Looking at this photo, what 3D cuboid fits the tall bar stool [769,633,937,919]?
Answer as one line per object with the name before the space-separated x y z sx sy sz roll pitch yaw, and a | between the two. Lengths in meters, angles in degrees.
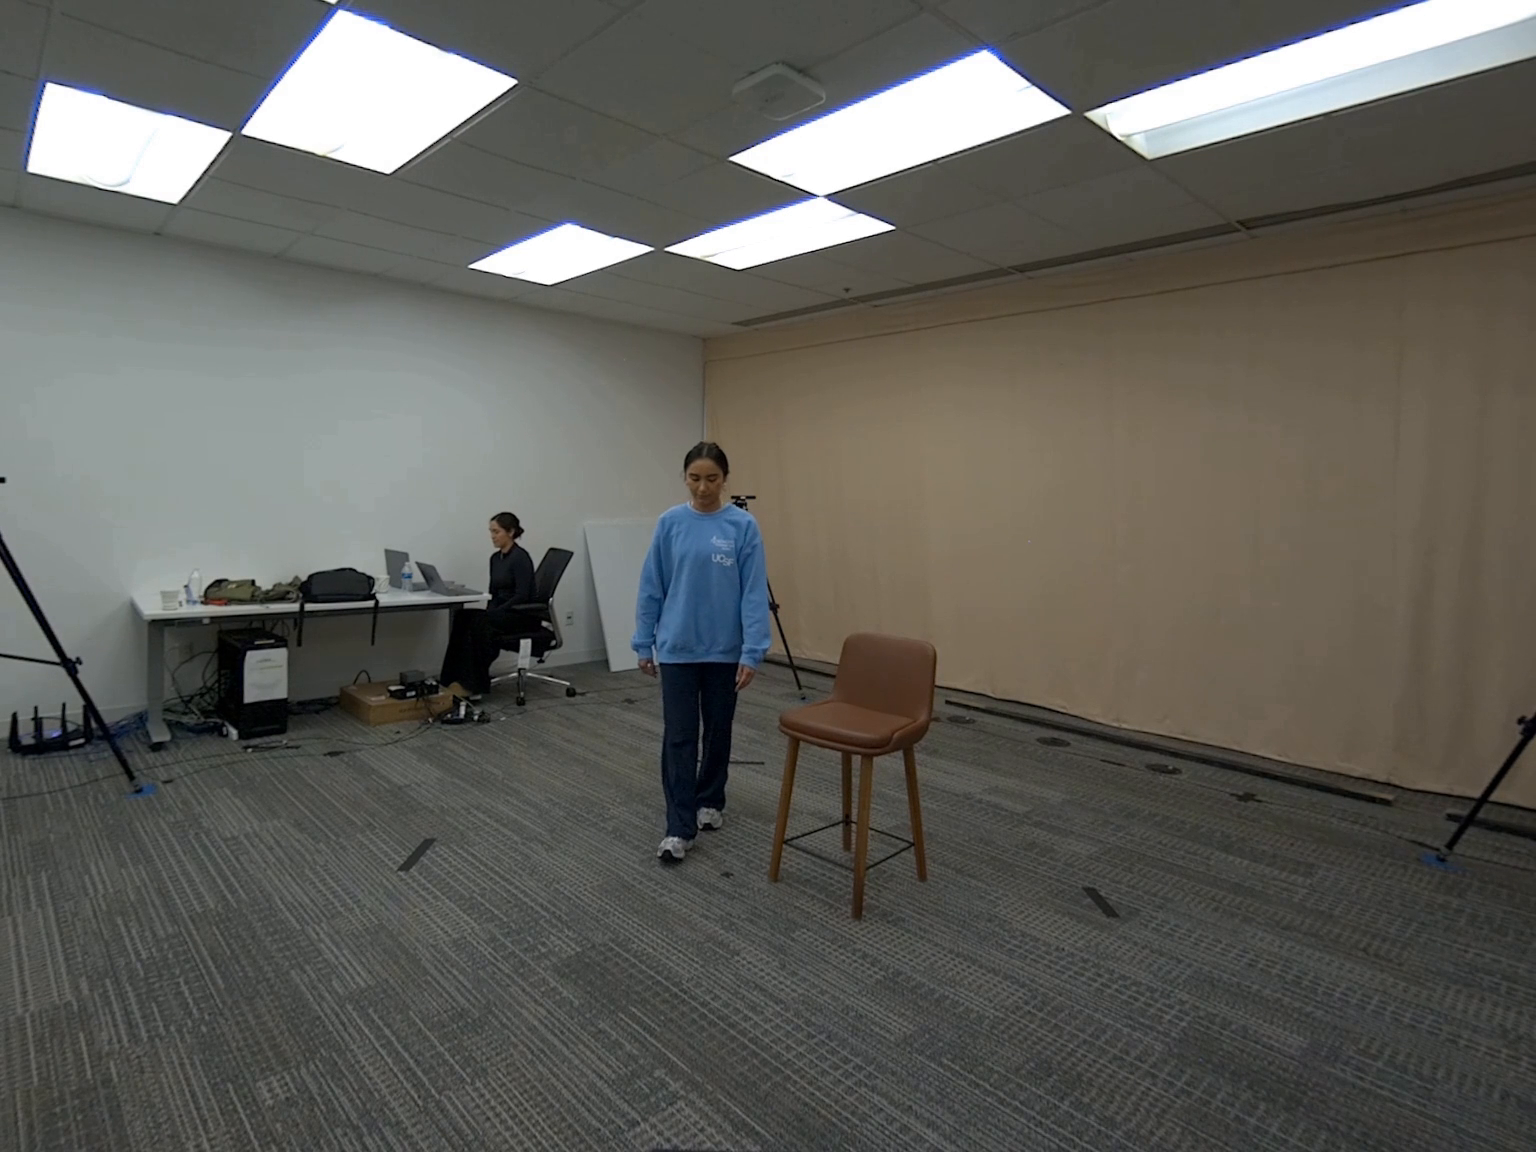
tall bar stool | 0.314 0.681 3.054 0.468 0.888 0.456 5 3 44
